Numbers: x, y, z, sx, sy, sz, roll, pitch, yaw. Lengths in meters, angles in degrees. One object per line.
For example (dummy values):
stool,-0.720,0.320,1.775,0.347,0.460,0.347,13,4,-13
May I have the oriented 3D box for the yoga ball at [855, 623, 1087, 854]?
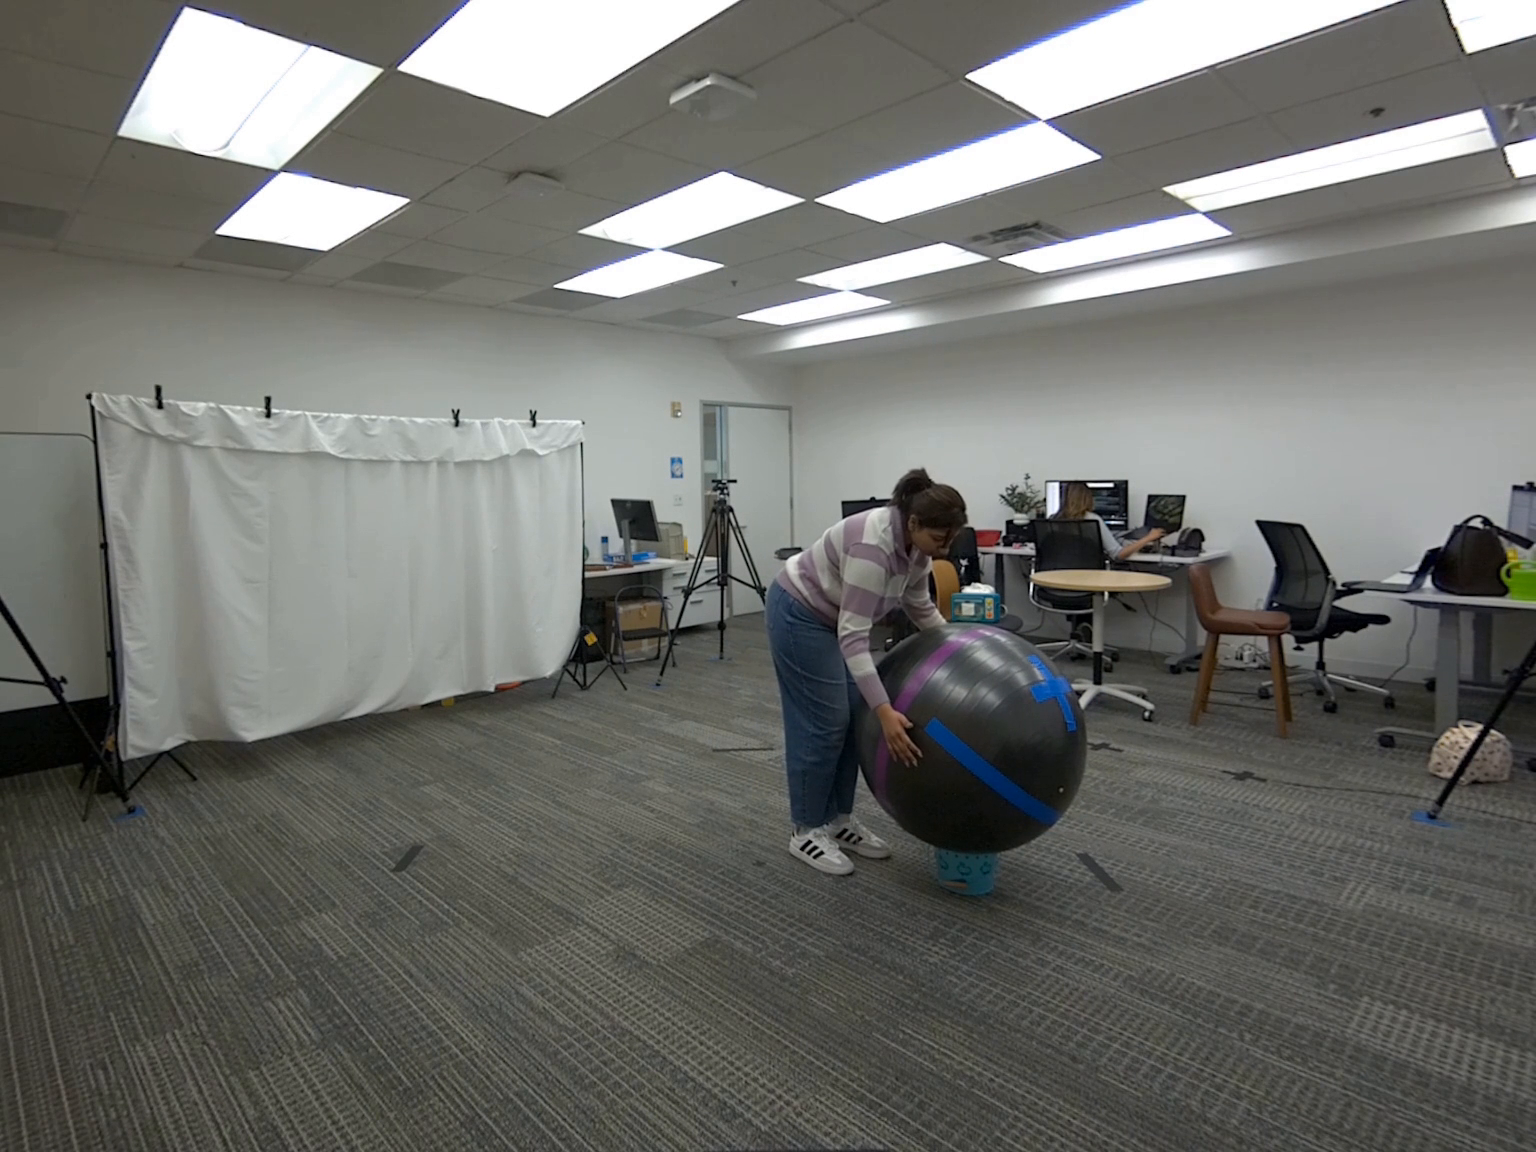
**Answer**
yoga ball,0.689,0.545,2.900,0.757,0.755,0.762,-1,5,-2
